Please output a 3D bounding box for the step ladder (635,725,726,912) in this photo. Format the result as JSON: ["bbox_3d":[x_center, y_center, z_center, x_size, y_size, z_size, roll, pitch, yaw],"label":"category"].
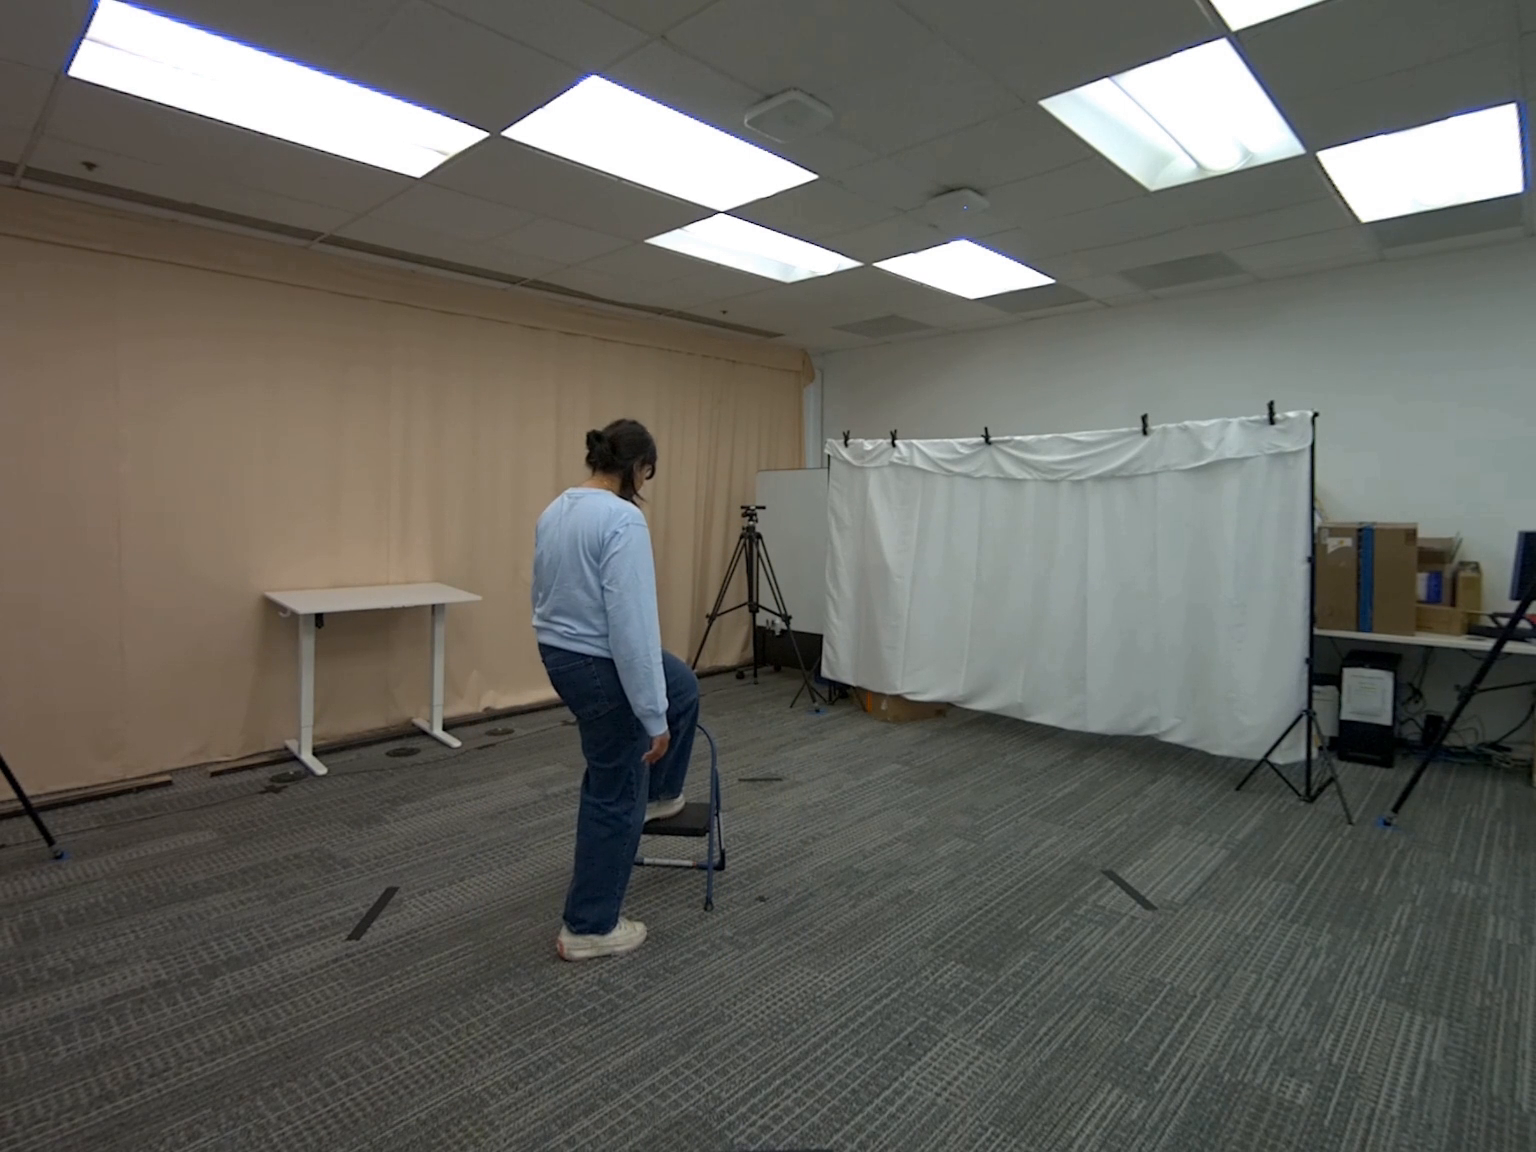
[{"bbox_3d":[-0.385,0.837,3.090,0.435,0.605,0.347,0,3,8],"label":"step ladder"}]
